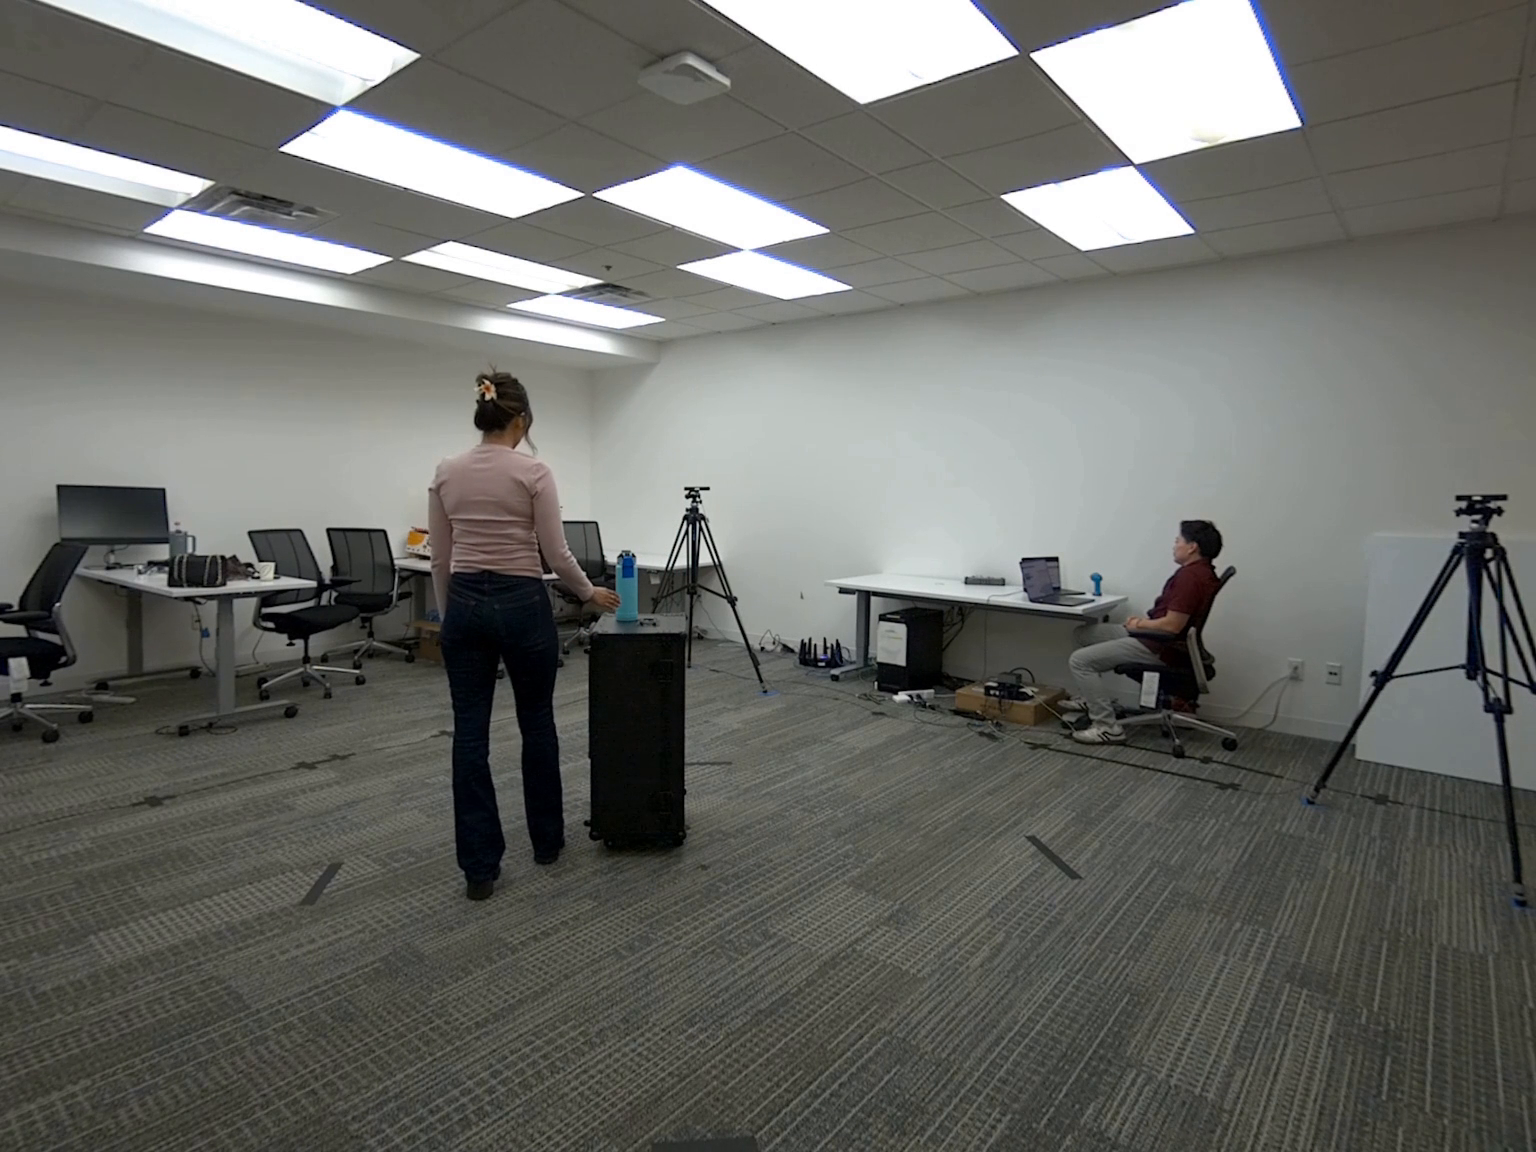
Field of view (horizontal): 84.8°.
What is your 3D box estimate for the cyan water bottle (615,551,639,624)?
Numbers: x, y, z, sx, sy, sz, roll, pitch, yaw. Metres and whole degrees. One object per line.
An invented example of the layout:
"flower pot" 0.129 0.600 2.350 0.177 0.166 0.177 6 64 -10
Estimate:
"cyan water bottle" -0.587 0.035 3.474 0.092 0.282 0.093 4 4 -2
